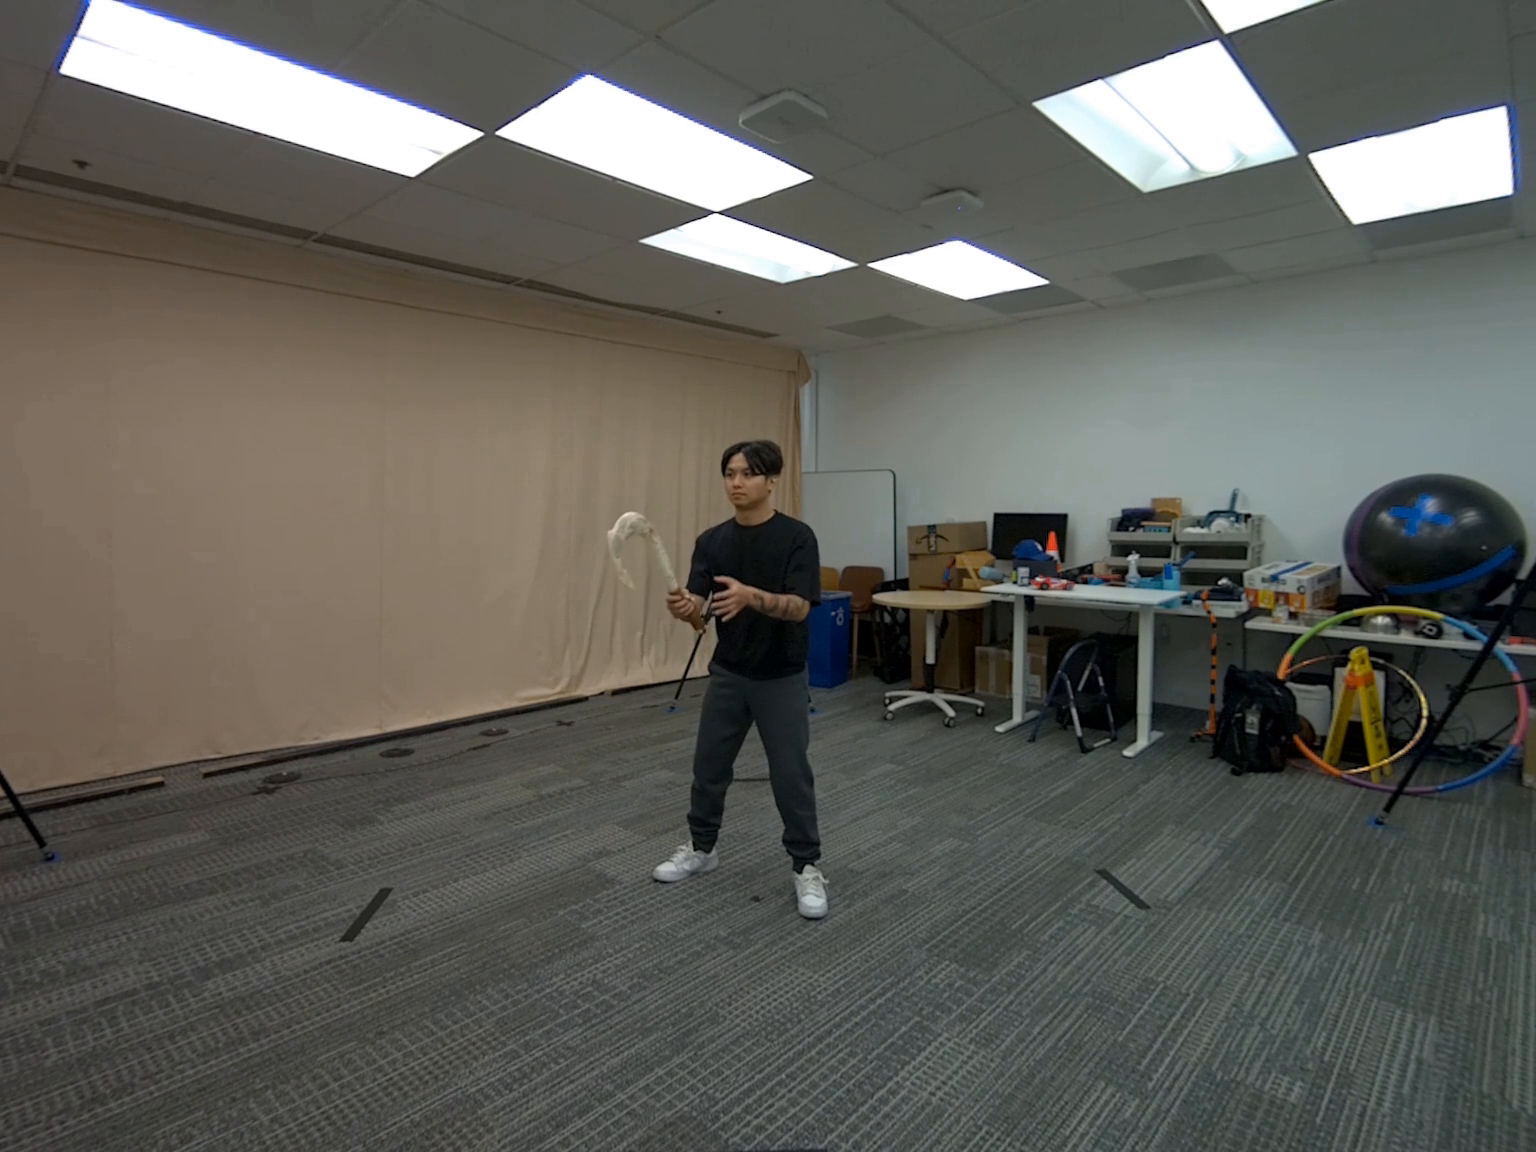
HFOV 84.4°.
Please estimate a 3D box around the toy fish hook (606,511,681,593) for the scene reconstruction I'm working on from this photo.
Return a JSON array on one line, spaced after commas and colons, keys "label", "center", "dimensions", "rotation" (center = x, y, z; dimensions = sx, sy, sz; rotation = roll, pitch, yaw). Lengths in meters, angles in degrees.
[{"label": "toy fish hook", "center": [-0.345, 0.064, 2.653], "dimensions": [0.050, 0.493, 0.223], "rotation": [-1, 40, 42]}]
